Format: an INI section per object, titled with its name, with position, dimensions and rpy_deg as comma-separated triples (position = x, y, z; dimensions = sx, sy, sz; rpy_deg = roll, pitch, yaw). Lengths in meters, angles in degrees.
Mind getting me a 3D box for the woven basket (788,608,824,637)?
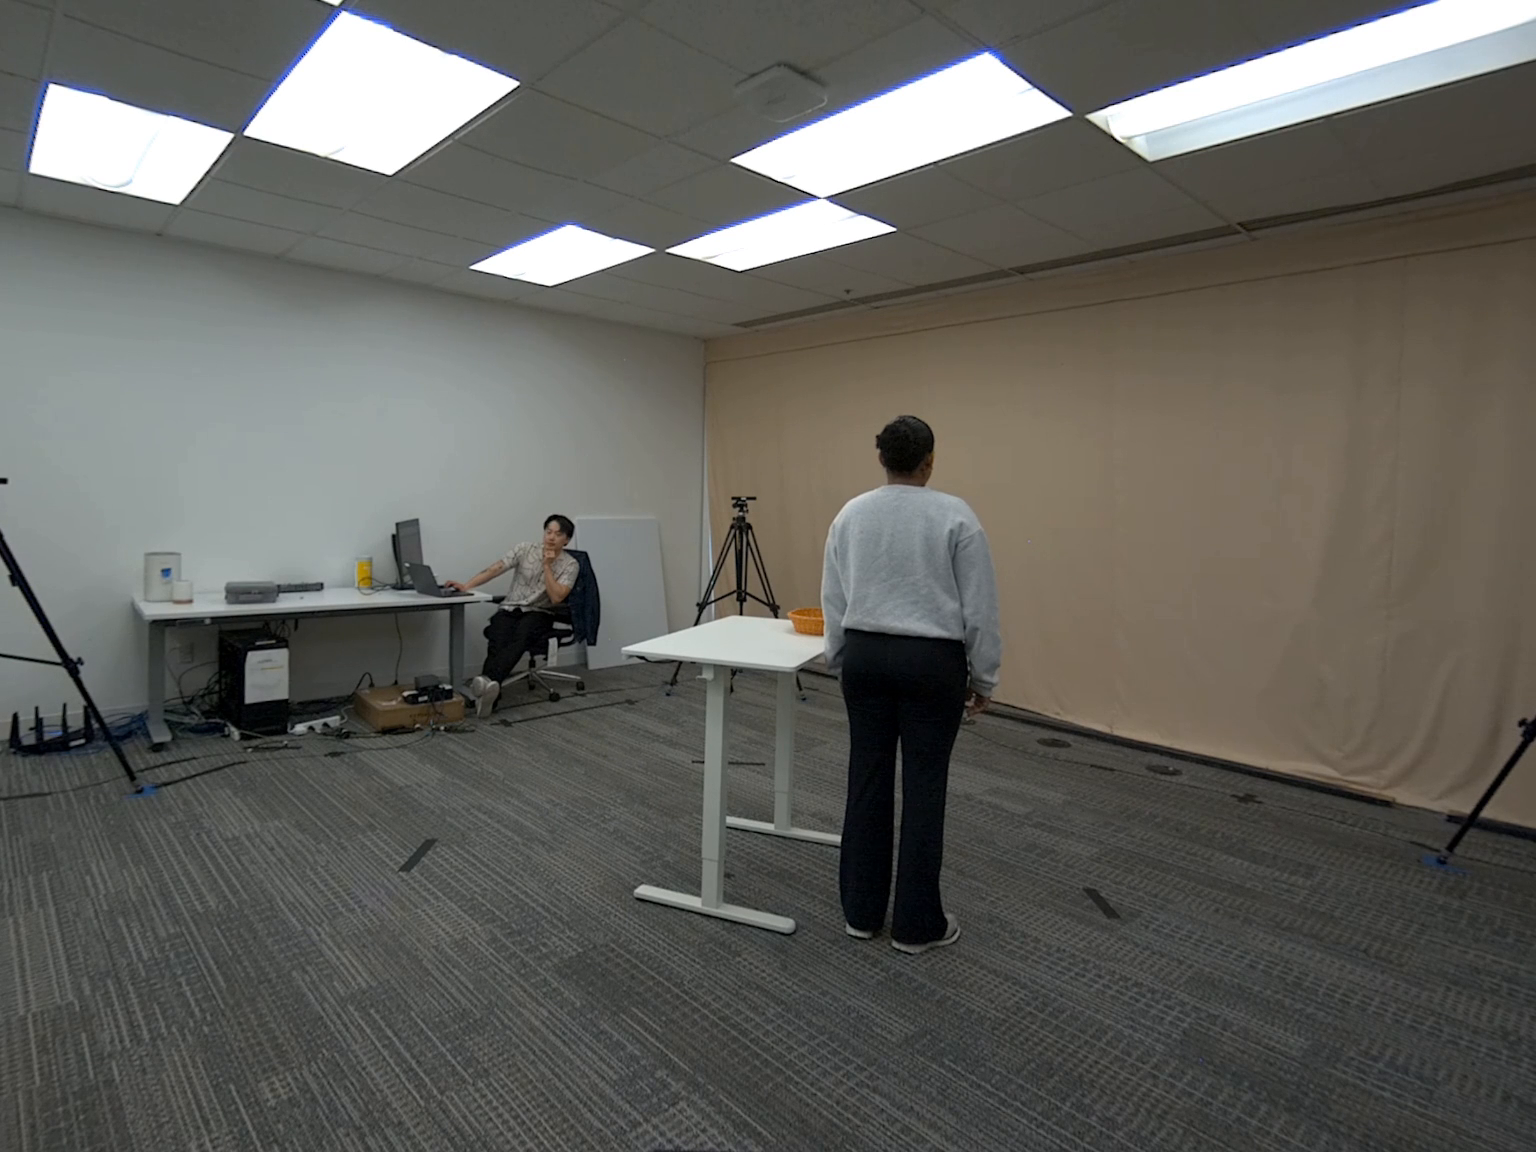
[woven basket]
position = 0.205, 0.184, 3.320
dimensions = 0.256, 0.073, 0.346
rpy_deg = 2, 5, 17
